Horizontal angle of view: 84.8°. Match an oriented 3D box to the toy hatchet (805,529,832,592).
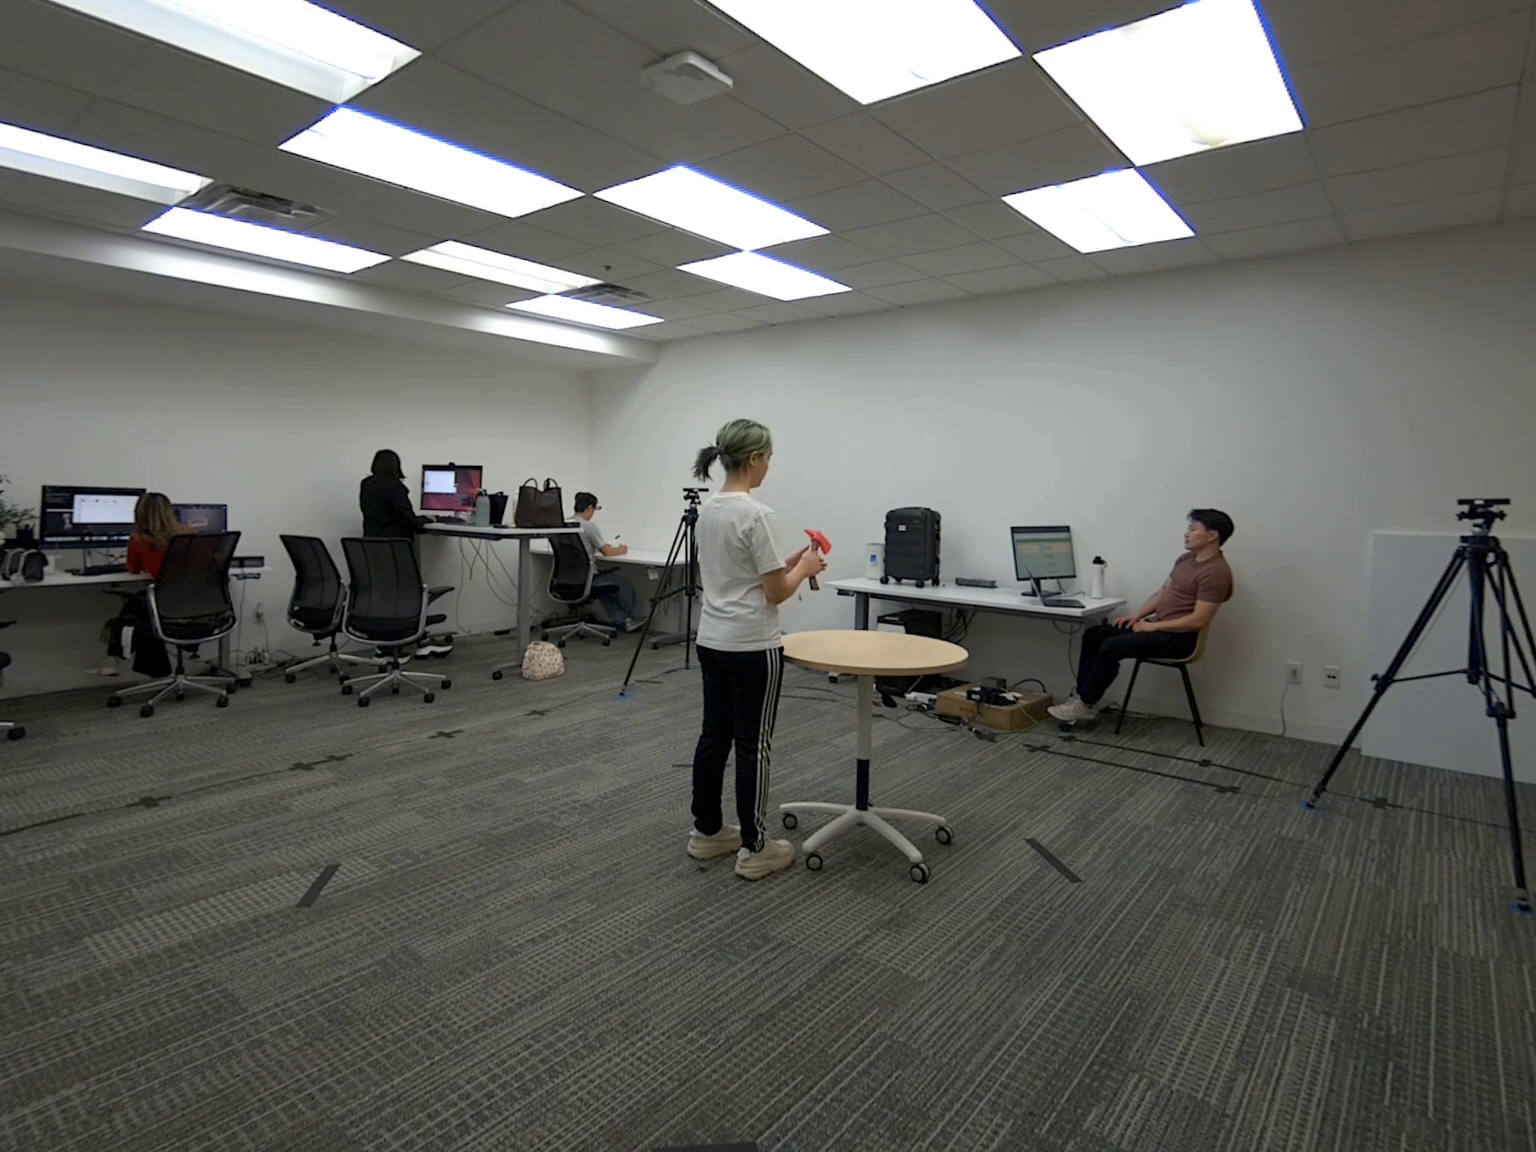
[{"bbox_3d":[0.192,-0.064,3.277,0.126,0.277,0.030,15,-34,-33],"label":"toy hatchet"}]
